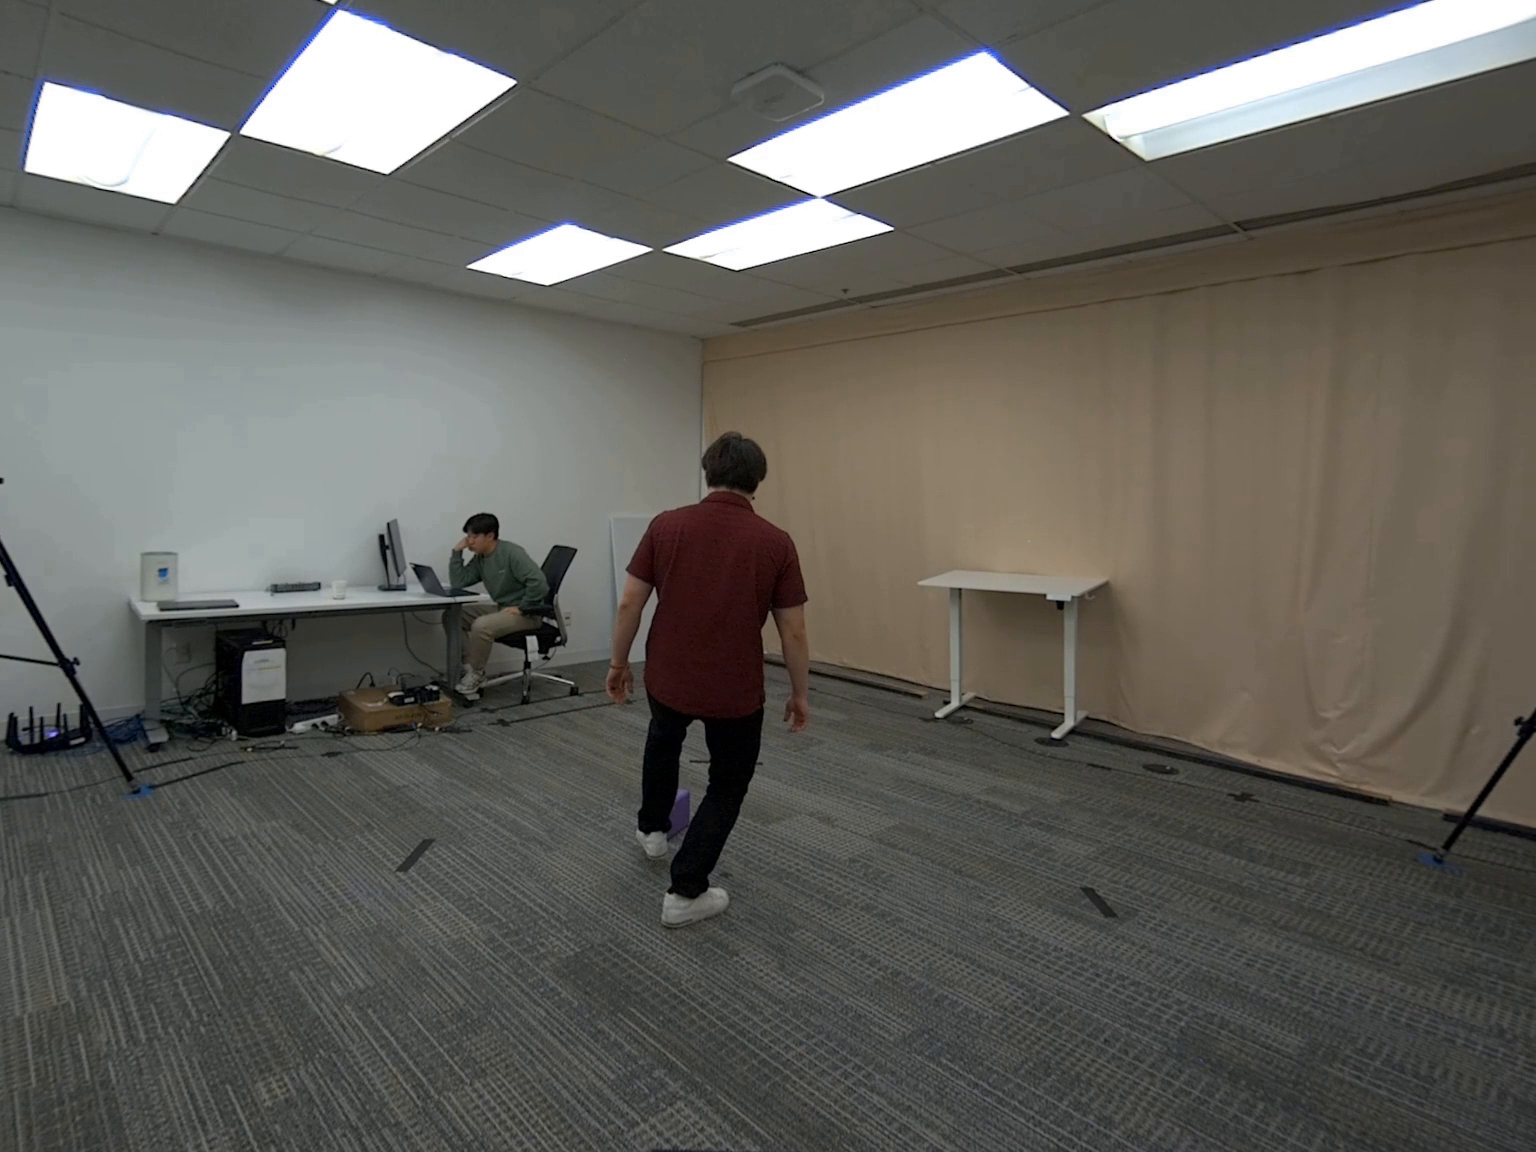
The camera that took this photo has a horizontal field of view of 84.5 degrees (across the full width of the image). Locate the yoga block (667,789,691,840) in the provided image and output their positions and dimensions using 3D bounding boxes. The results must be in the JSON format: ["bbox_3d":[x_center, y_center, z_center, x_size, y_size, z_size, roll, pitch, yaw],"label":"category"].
[{"bbox_3d":[-0.415,0.989,3.485,0.078,0.148,0.226,2,5,22],"label":"yoga block"}]
